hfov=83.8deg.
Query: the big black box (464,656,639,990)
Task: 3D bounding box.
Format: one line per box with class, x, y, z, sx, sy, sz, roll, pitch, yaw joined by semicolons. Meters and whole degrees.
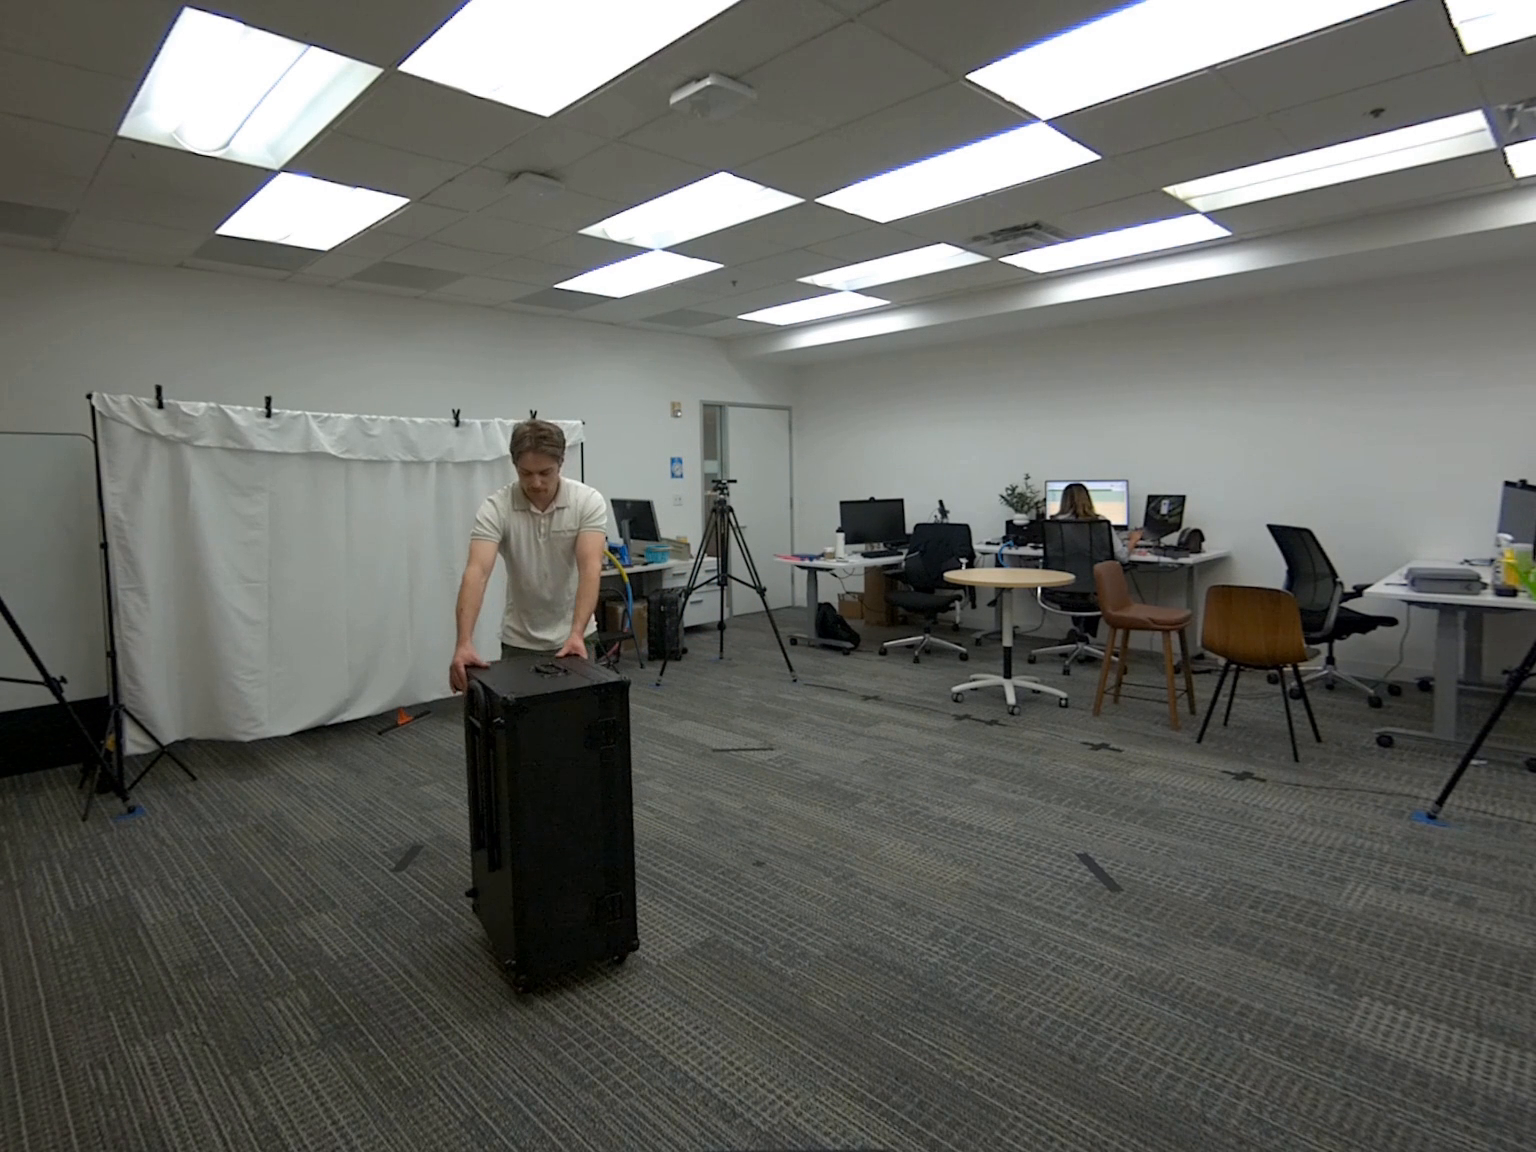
big black box;-0.643;0.705;2.515;0.376;0.865;0.538;-4;5;-32
